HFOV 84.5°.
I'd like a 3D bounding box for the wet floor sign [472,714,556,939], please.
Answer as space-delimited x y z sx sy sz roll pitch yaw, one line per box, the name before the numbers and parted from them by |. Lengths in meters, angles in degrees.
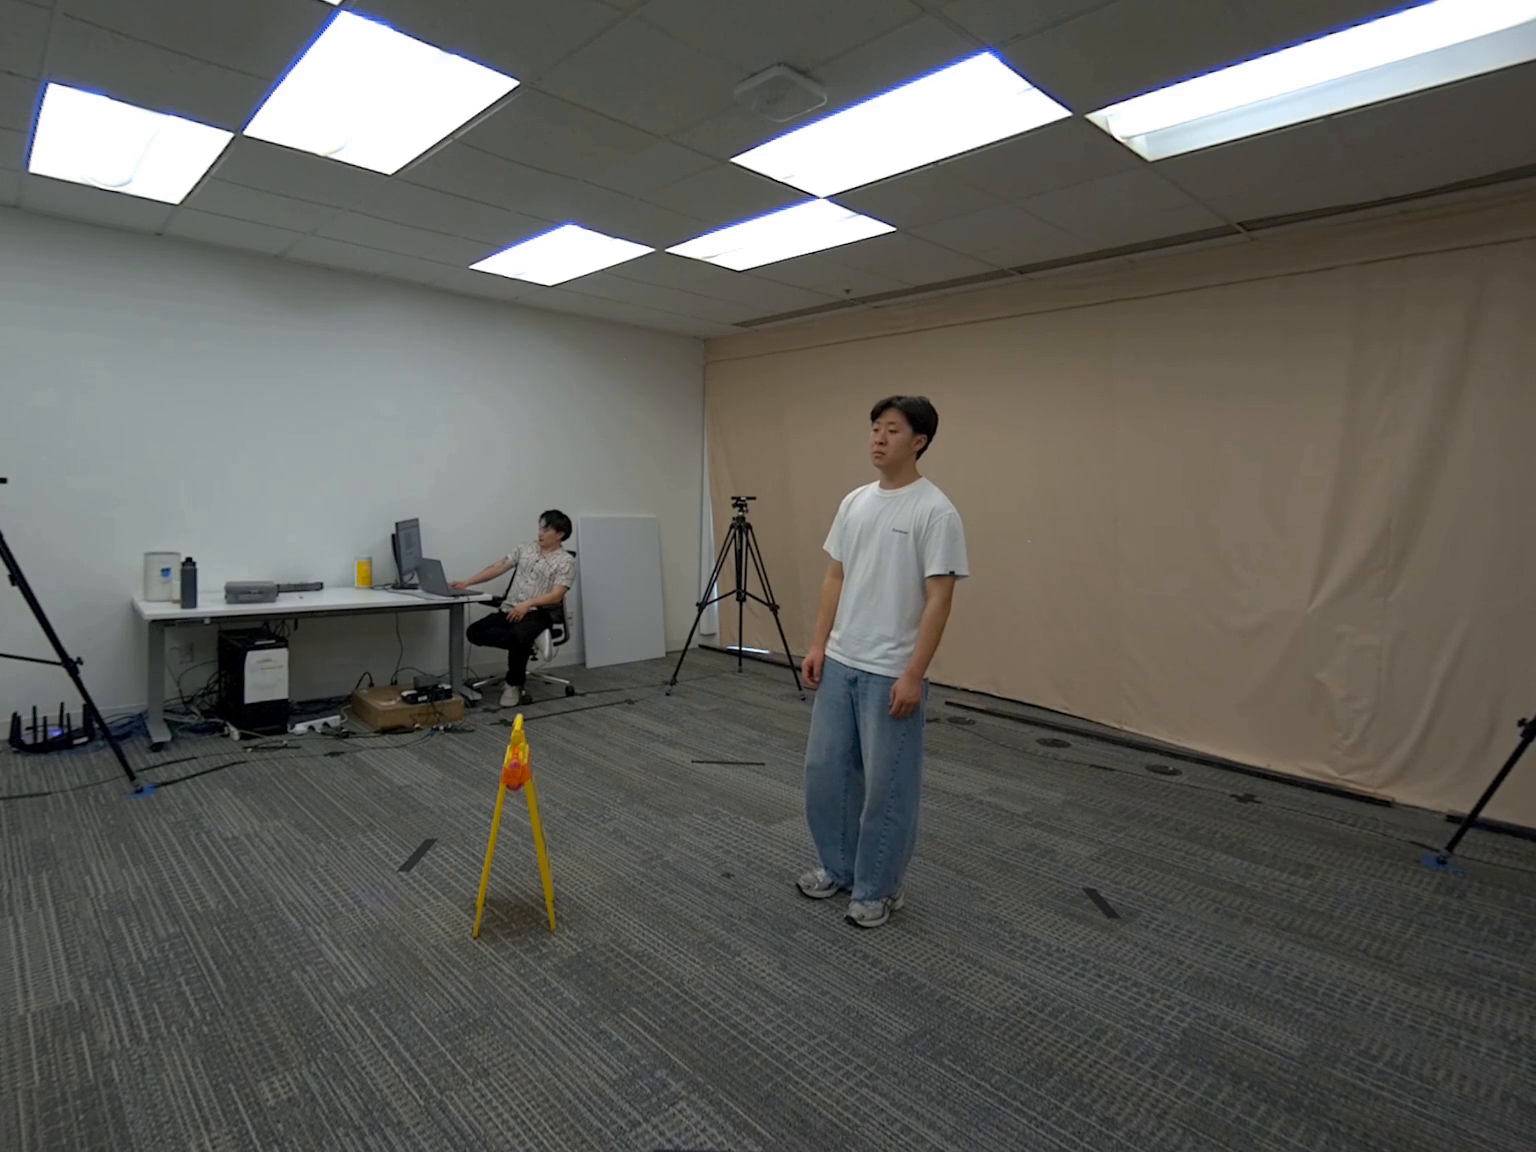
wet floor sign | -0.831 0.800 2.783 0.287 0.645 0.285 1 3 -12
